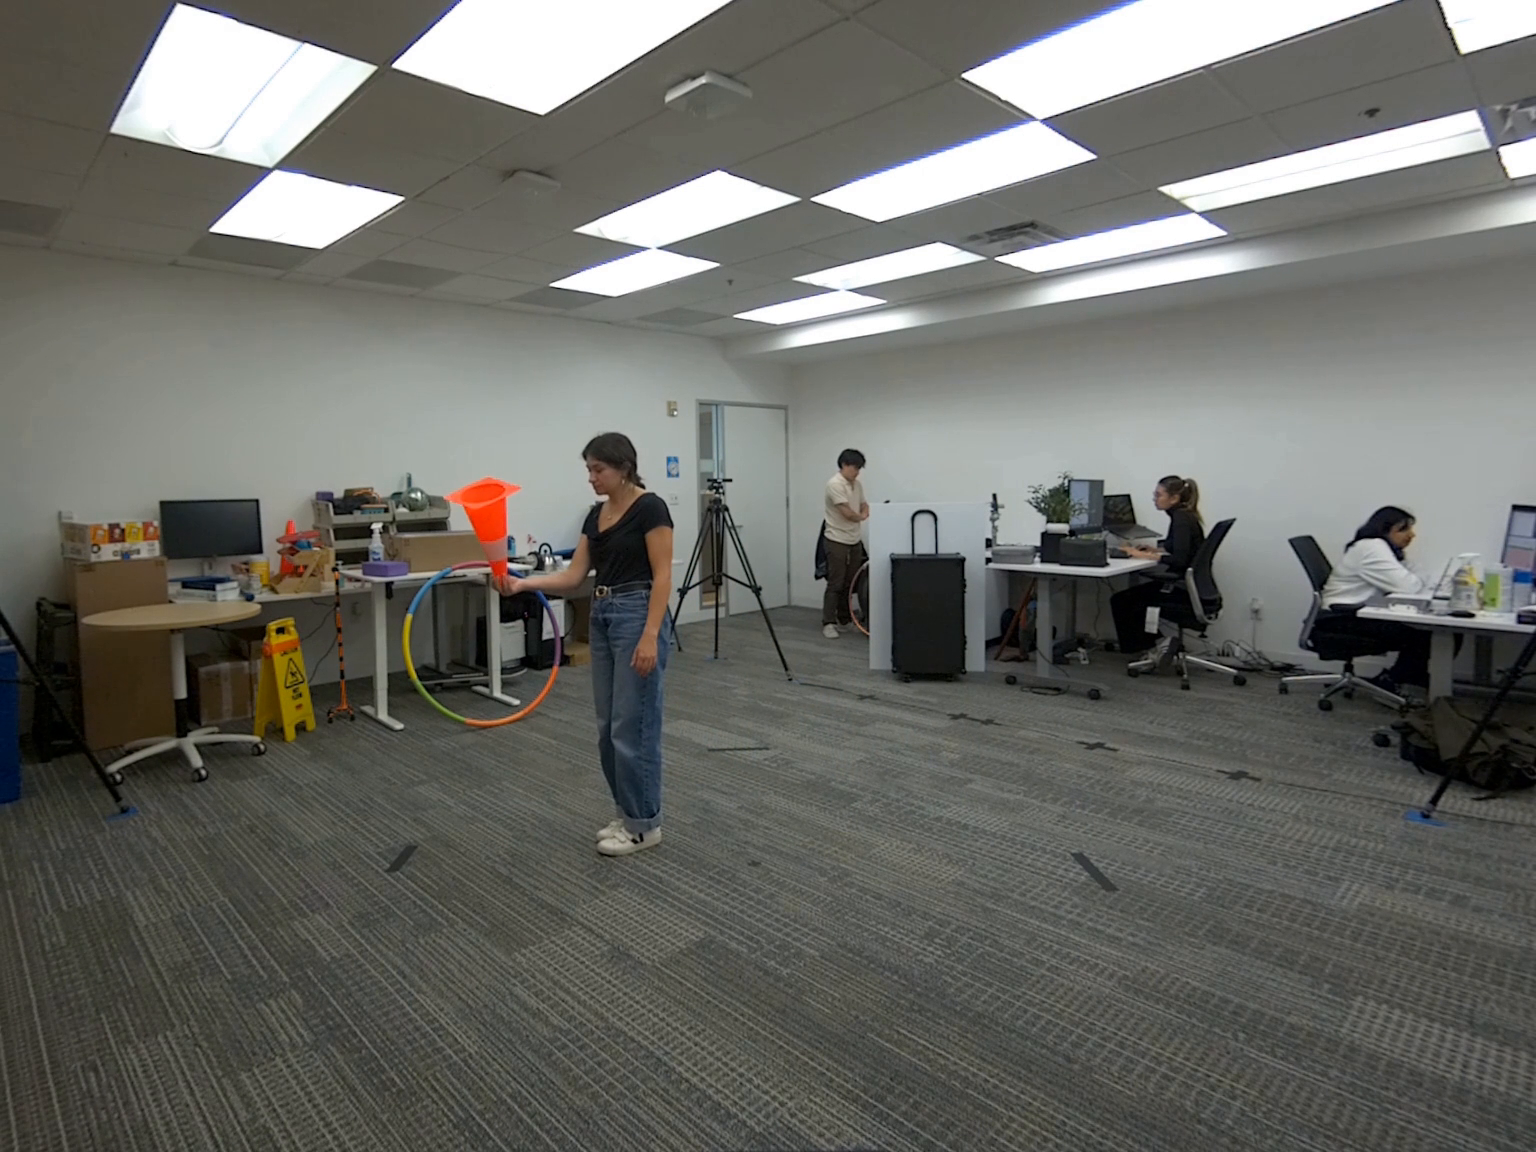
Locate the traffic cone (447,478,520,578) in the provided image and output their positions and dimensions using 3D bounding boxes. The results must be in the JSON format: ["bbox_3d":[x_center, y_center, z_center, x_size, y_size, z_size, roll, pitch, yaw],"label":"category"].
[{"bbox_3d":[-0.976,-0.123,3.051,0.211,0.374,0.202,12,33,33],"label":"traffic cone"}]
